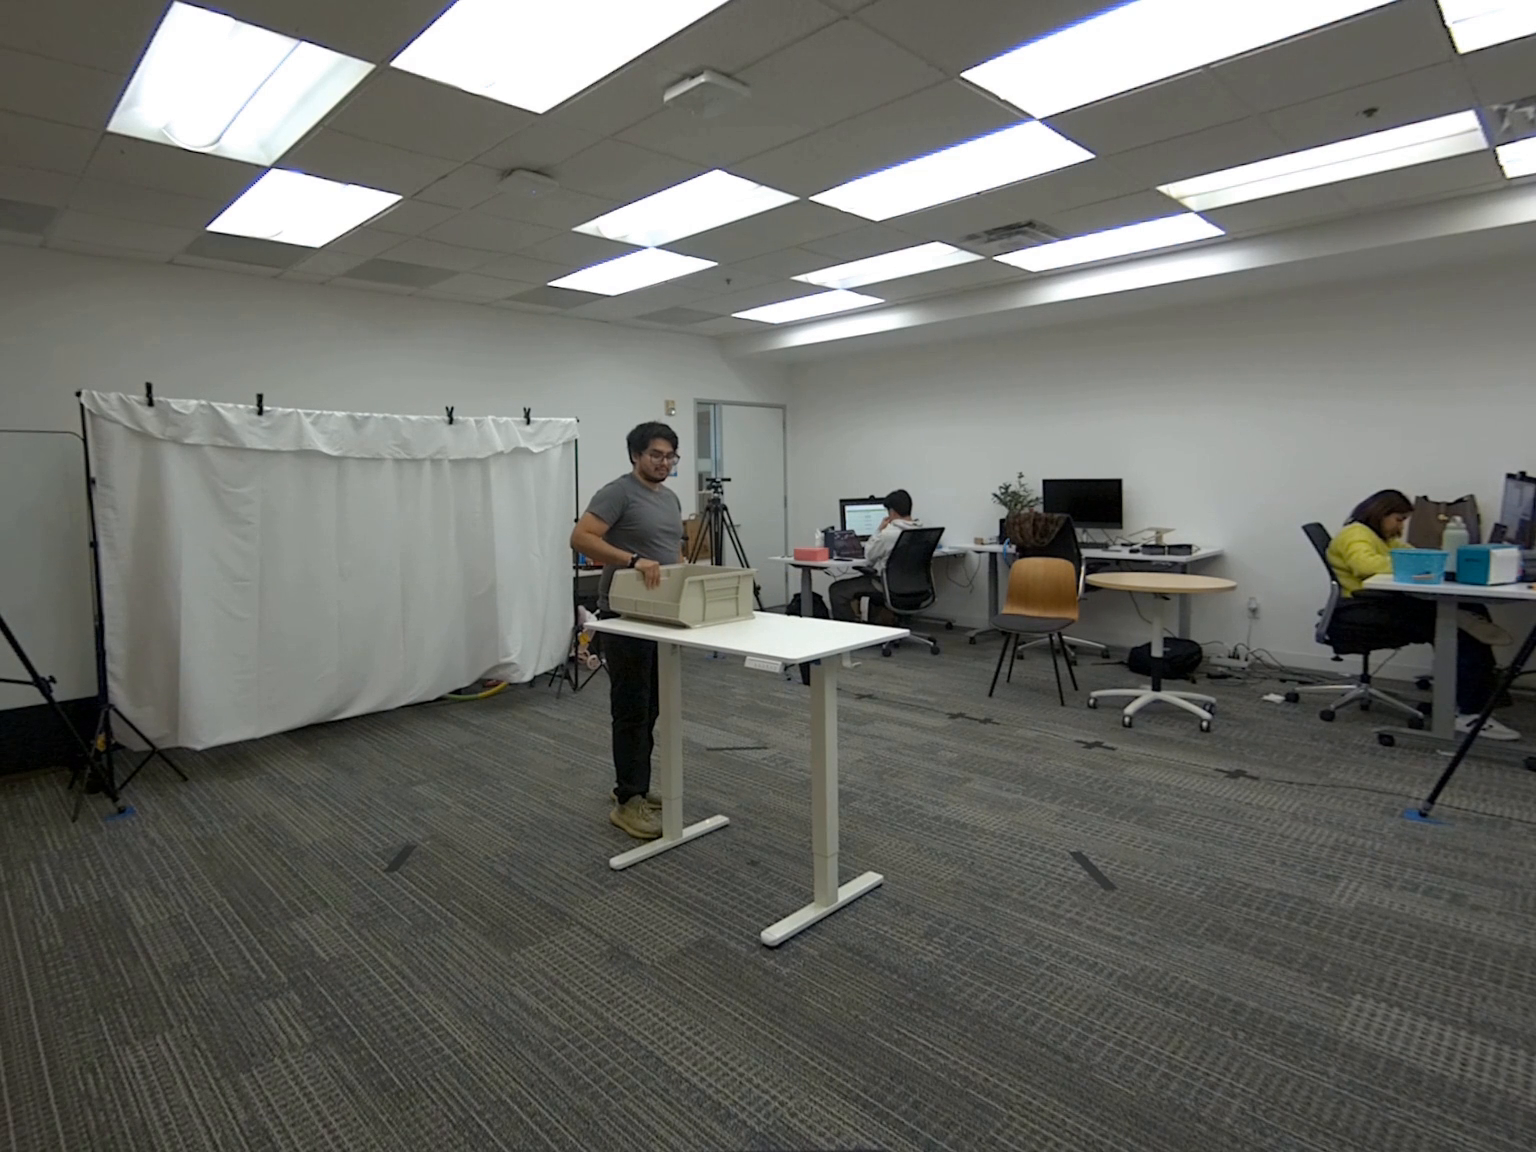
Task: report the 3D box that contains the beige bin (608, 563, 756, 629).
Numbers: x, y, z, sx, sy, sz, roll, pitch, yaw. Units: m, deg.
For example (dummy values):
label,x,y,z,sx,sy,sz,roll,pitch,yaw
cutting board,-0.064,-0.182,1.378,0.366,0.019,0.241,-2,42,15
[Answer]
label,x,y,z,sx,sy,sz,roll,pitch,yaw
beige bin,-0.315,0.070,3.170,0.367,0.188,0.435,-4,6,-44
